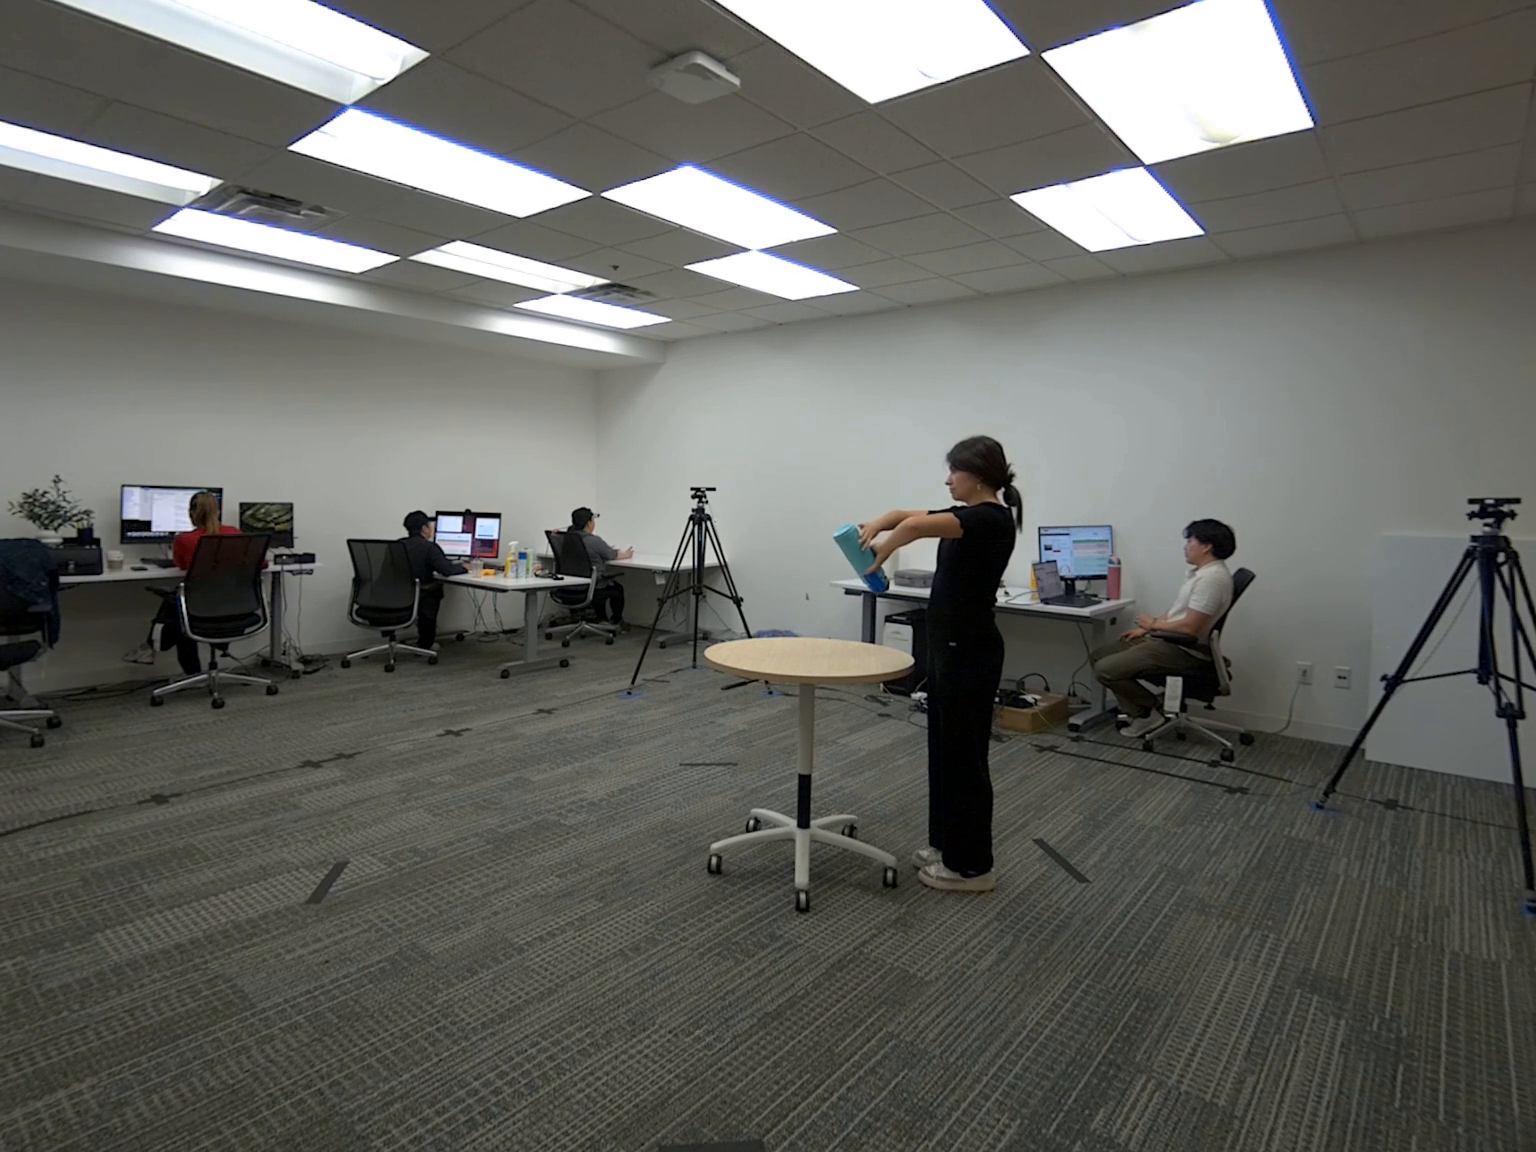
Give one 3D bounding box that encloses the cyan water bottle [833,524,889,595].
[{"bbox_3d":[0.341,-0.053,3.099,0.092,0.280,0.093,-28,9,4],"label":"cyan water bottle"}]
